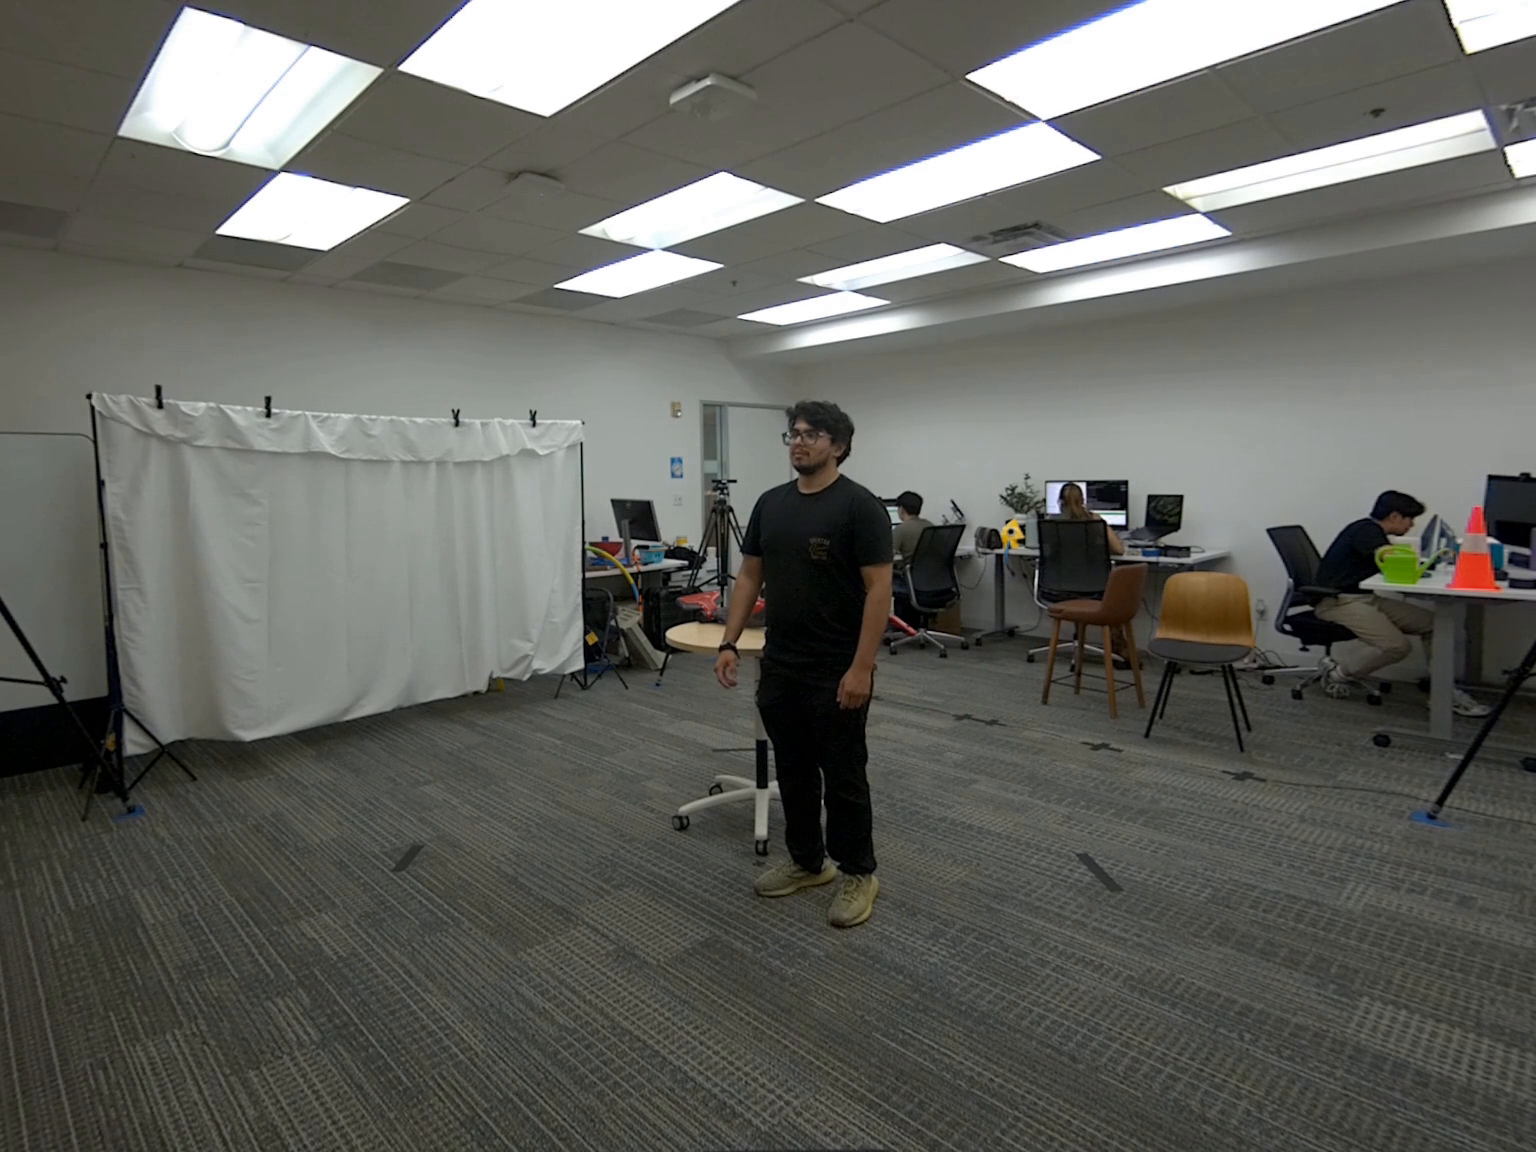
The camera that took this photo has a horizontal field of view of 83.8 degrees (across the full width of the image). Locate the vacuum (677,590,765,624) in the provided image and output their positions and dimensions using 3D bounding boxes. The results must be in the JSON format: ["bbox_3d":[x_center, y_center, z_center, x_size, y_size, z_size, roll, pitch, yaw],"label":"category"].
[{"bbox_3d":[0.113,0.180,3.404,1.081,0.143,0.247,4,13,45],"label":"vacuum"}]
